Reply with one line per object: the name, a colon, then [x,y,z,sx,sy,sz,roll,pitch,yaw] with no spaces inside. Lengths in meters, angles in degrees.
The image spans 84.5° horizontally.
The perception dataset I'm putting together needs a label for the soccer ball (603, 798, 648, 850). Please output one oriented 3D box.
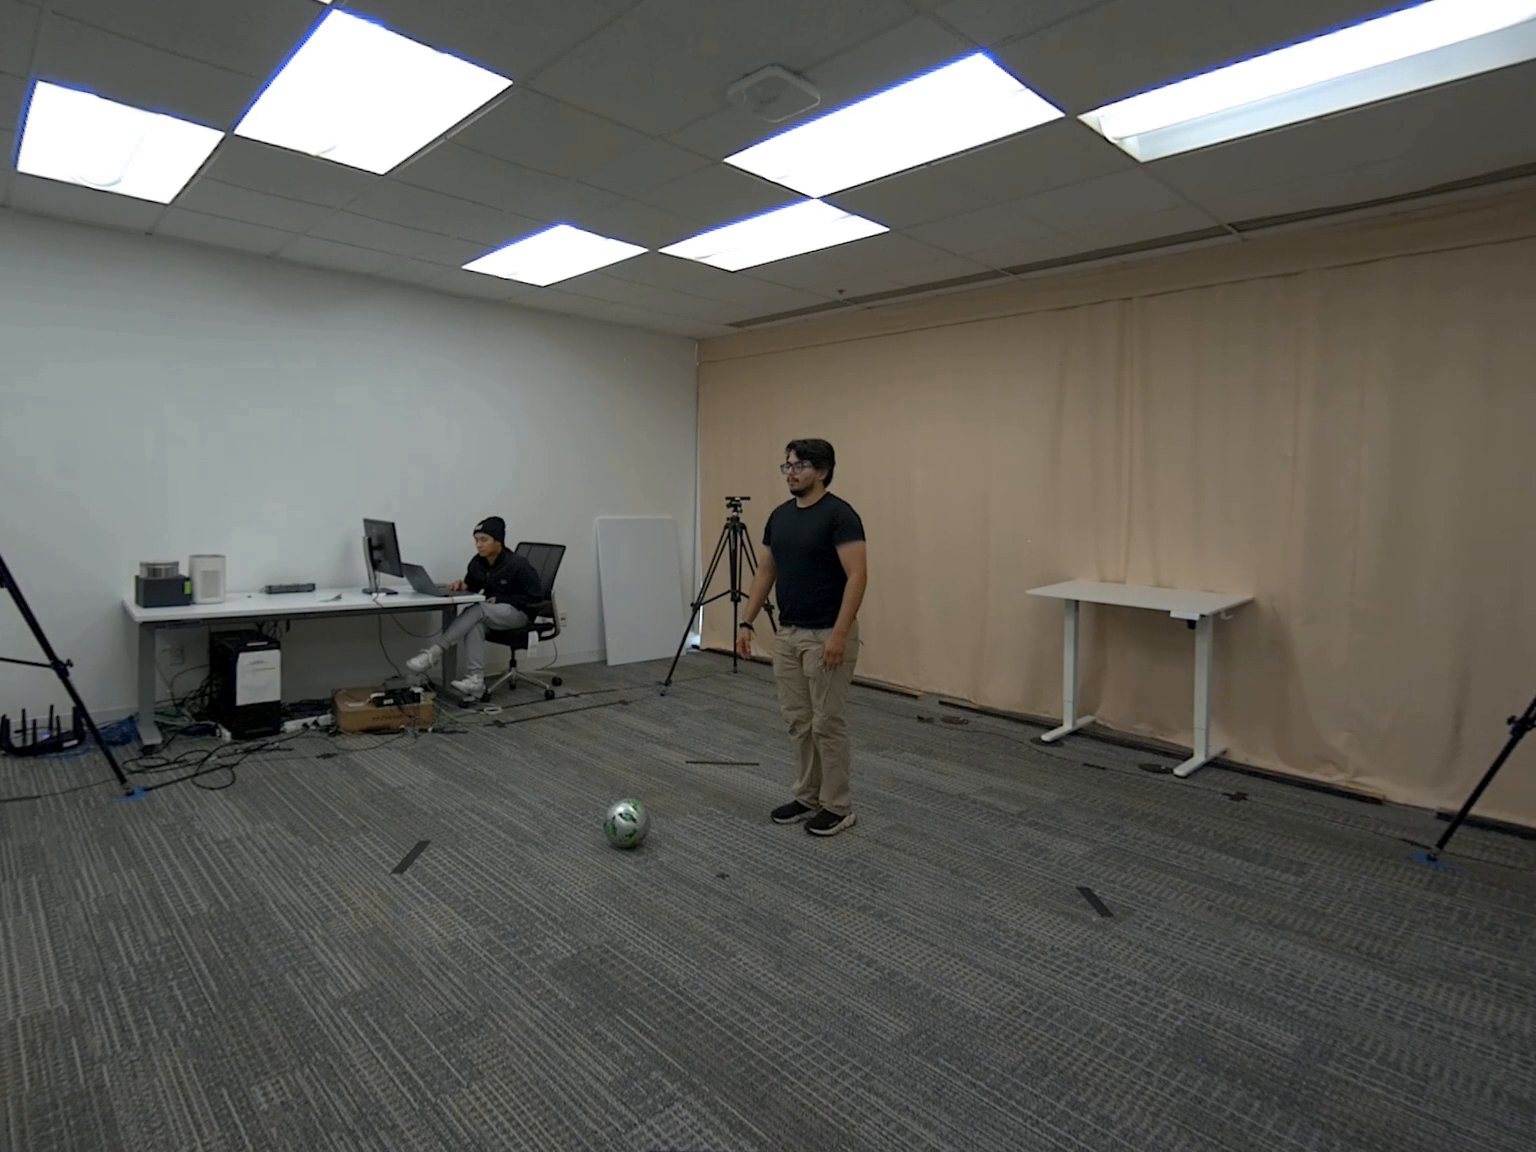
soccer ball: [-0.570,0.984,3.347,0.187,0.187,0.188,1,4,-1]
